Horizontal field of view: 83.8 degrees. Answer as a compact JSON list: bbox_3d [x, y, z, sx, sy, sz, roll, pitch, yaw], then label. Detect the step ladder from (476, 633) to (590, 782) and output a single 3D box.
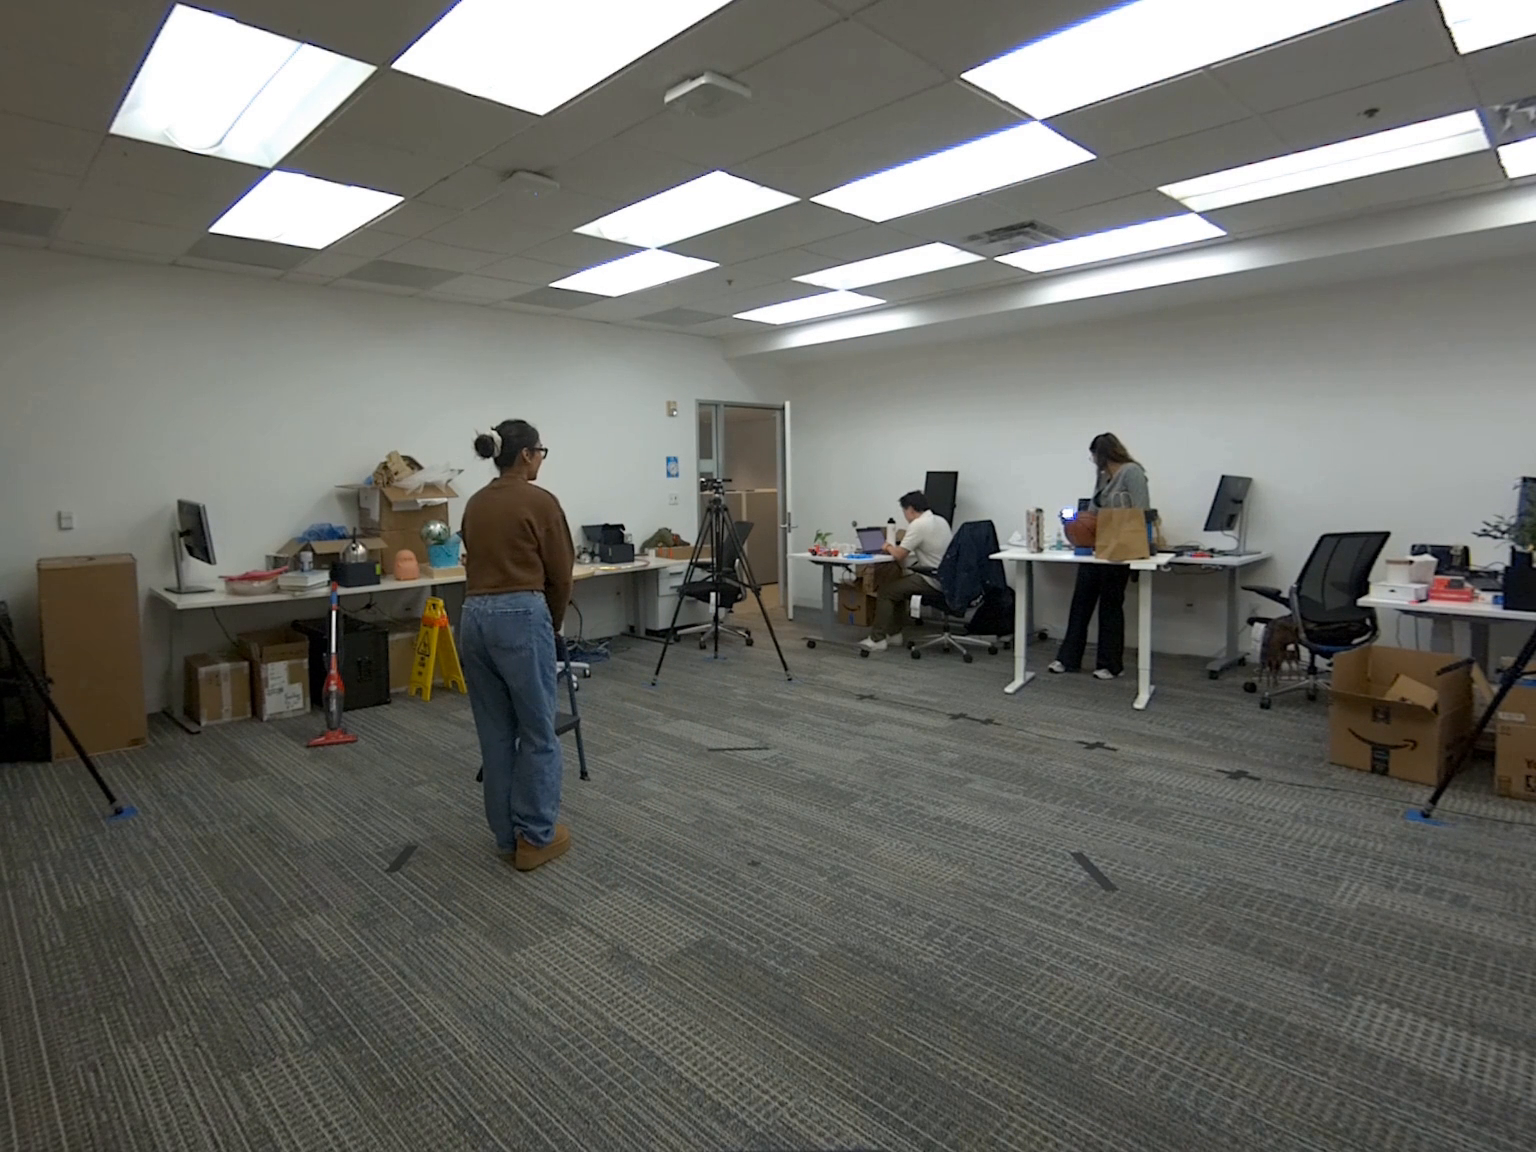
[{"bbox_3d":[-0.893,0.549,3.515,0.353,0.607,0.426,12,-1,7],"label":"step ladder"}]
